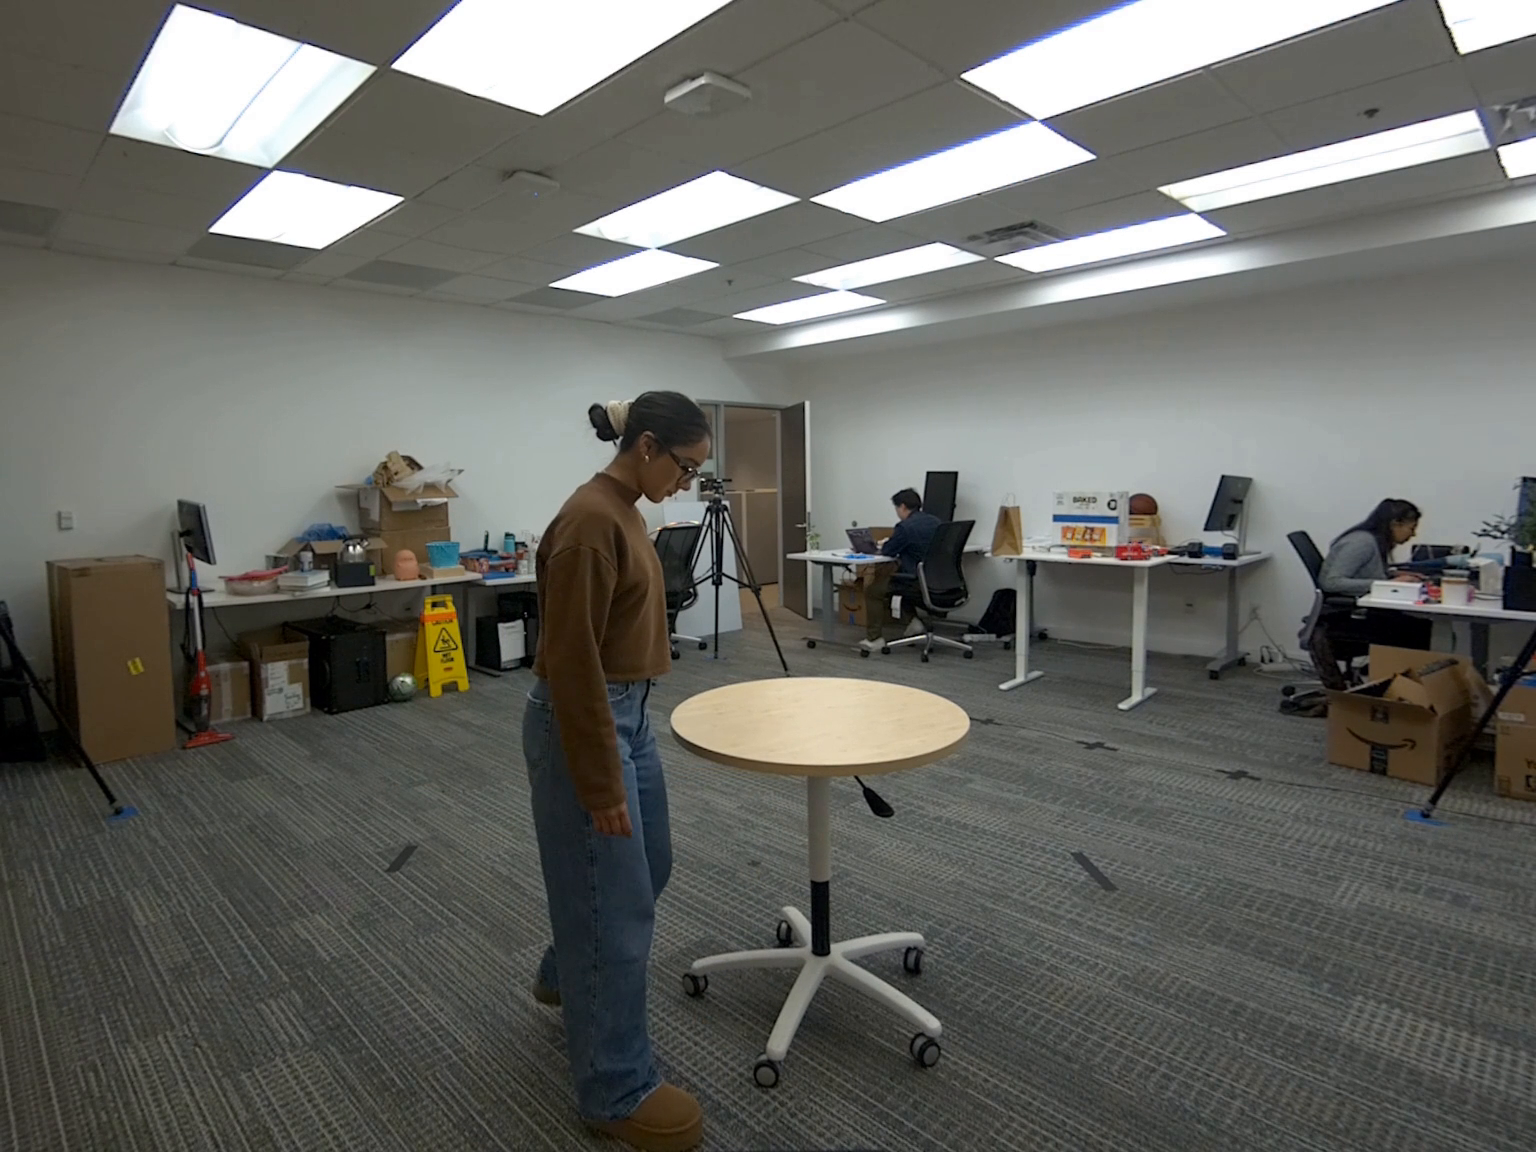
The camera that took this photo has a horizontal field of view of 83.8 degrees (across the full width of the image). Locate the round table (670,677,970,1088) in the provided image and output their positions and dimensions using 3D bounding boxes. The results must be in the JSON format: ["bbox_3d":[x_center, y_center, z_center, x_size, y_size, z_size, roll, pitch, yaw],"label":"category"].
[{"bbox_3d":[0.148,0.753,2.249,0.763,0.790,0.768,-1,6,-2],"label":"round table"}]
